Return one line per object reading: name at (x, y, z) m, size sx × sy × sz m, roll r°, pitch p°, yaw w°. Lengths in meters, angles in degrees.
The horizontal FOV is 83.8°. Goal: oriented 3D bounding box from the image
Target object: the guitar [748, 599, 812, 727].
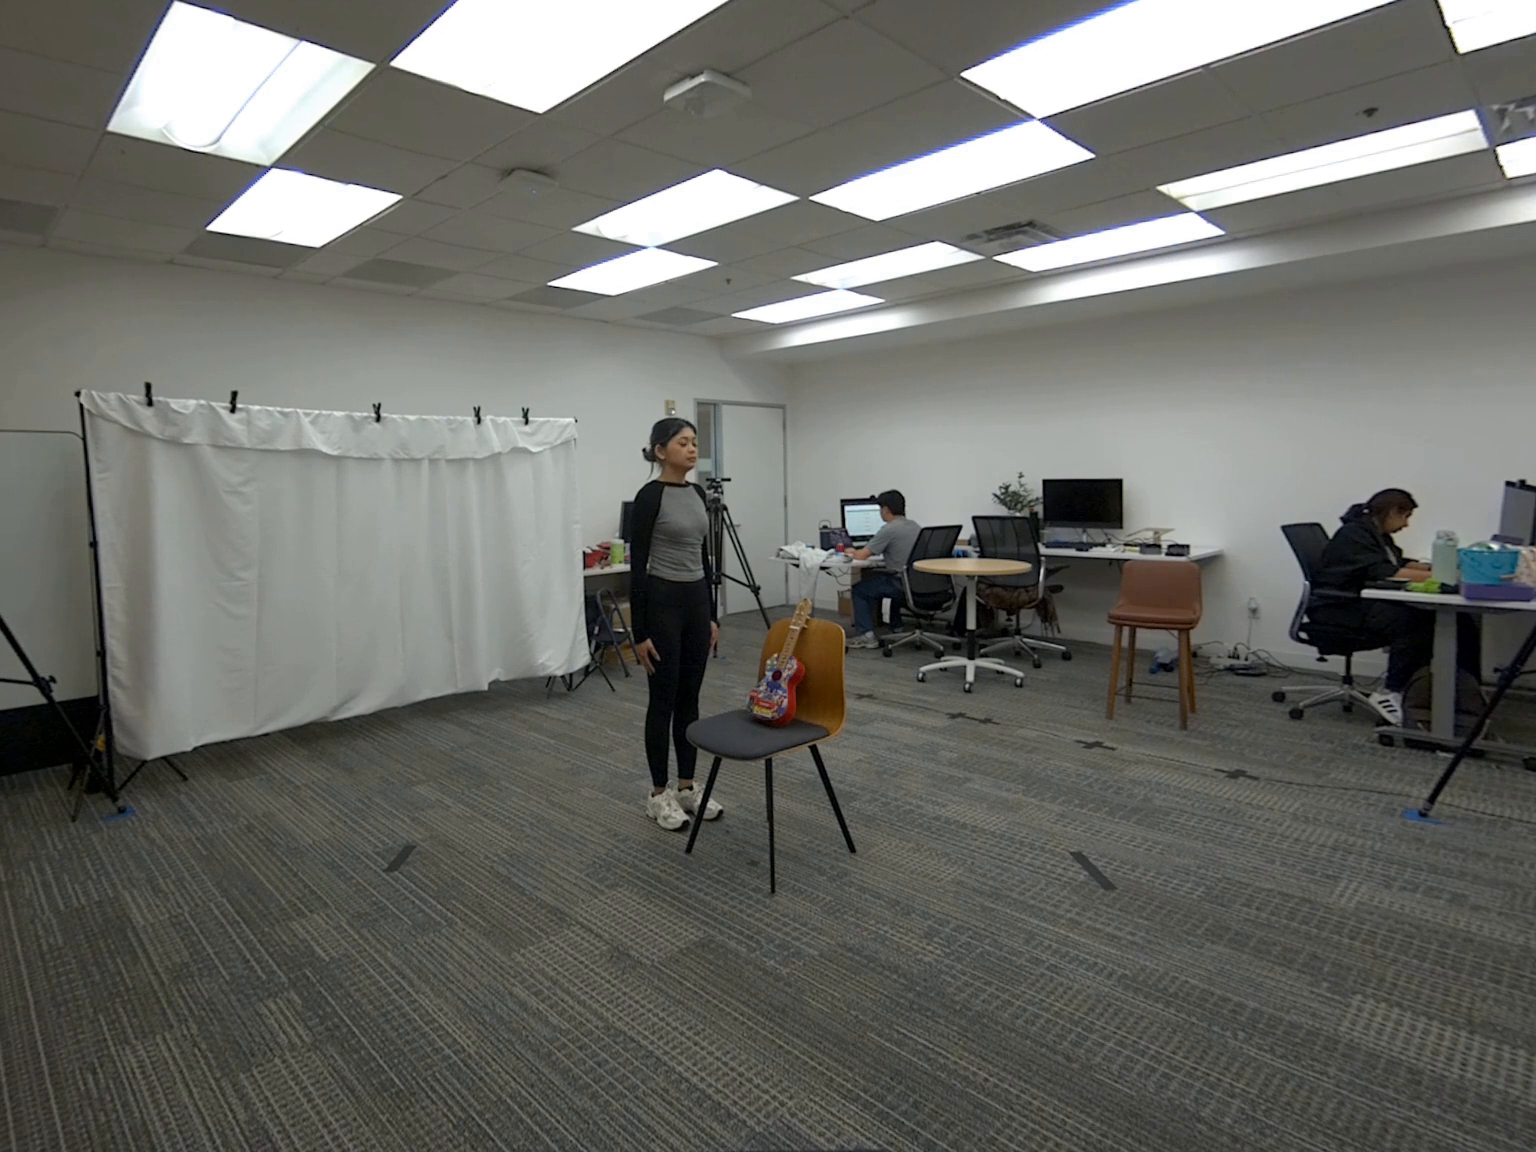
guitar at (0.094, 0.330, 3.260) m, size 0.200 × 0.500 × 0.068 m, roll 17°, pitch -17°, yaw 44°
